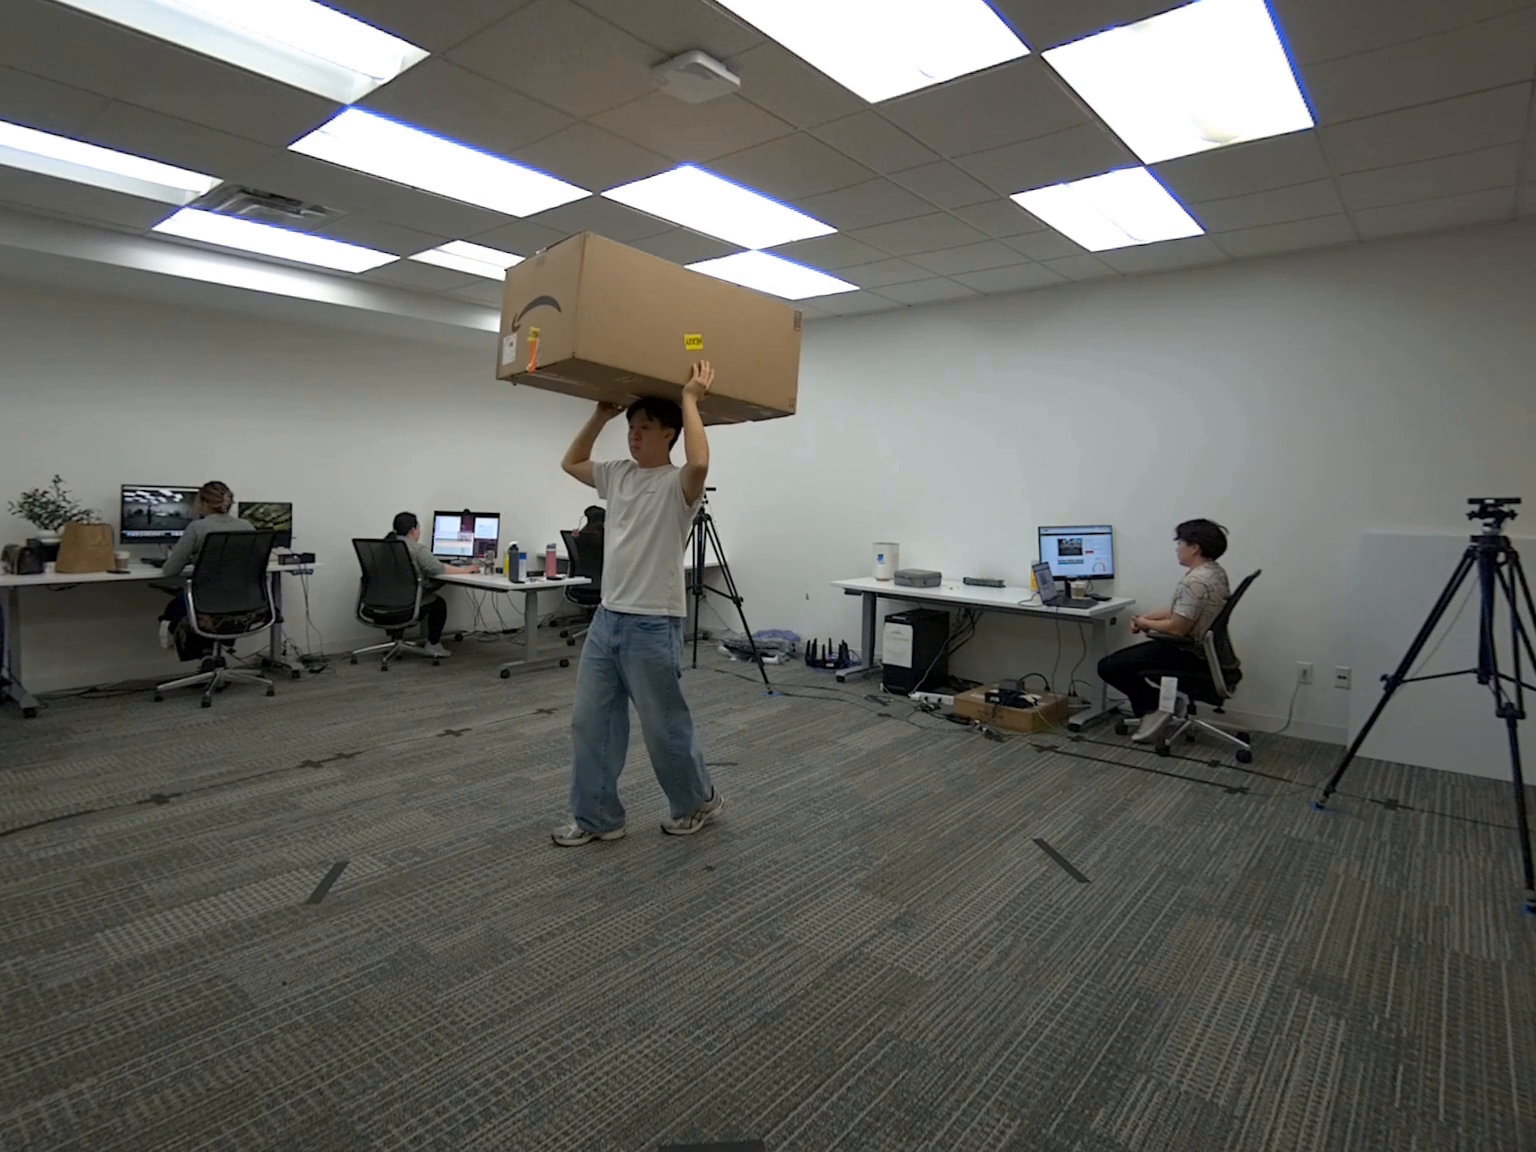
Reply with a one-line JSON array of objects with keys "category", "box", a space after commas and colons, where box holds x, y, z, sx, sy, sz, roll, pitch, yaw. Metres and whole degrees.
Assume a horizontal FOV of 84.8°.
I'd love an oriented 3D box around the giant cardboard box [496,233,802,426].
[{"category": "giant cardboard box", "box": [-0.450, -0.895, 3.276, 0.991, 0.427, 0.596, 5, -1, -42]}]
